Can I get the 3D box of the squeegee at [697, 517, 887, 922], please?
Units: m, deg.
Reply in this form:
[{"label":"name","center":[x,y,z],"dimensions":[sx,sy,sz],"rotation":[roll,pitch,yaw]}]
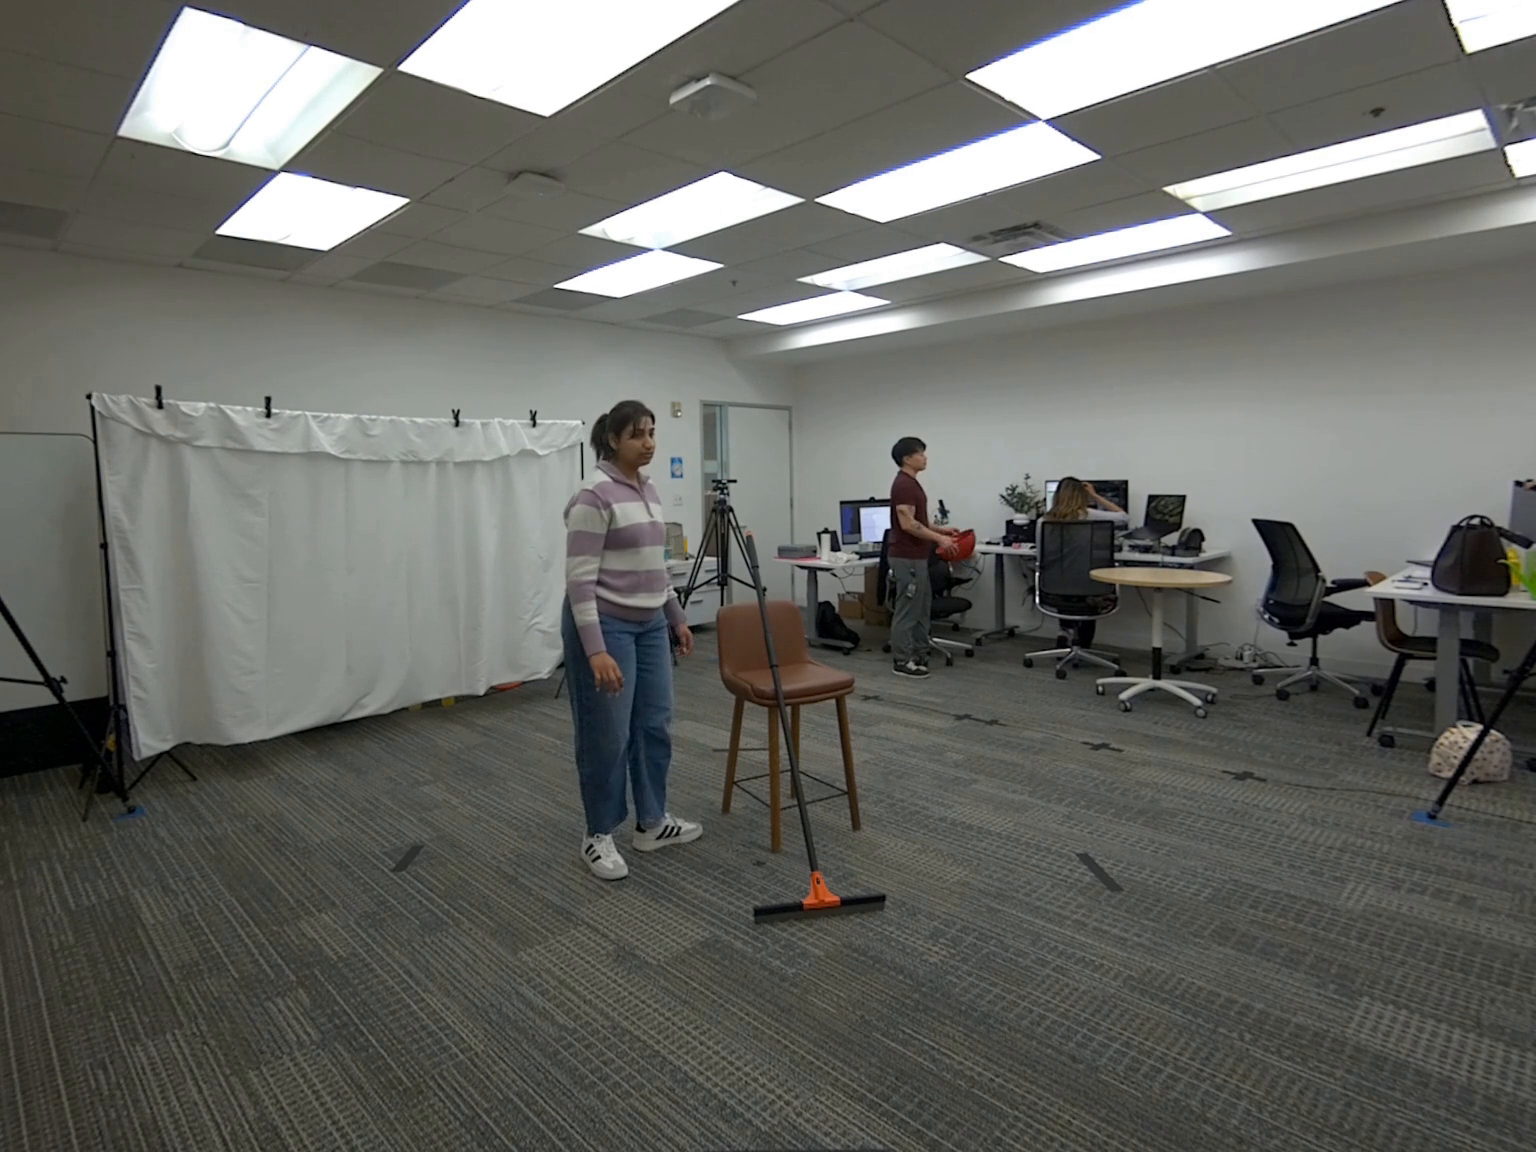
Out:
[{"label":"squeegee","center":[0.058,0.434,3.161],"dimensions":[0.433,1.584,0.052],"rotation":[-1,-37,-11]}]
